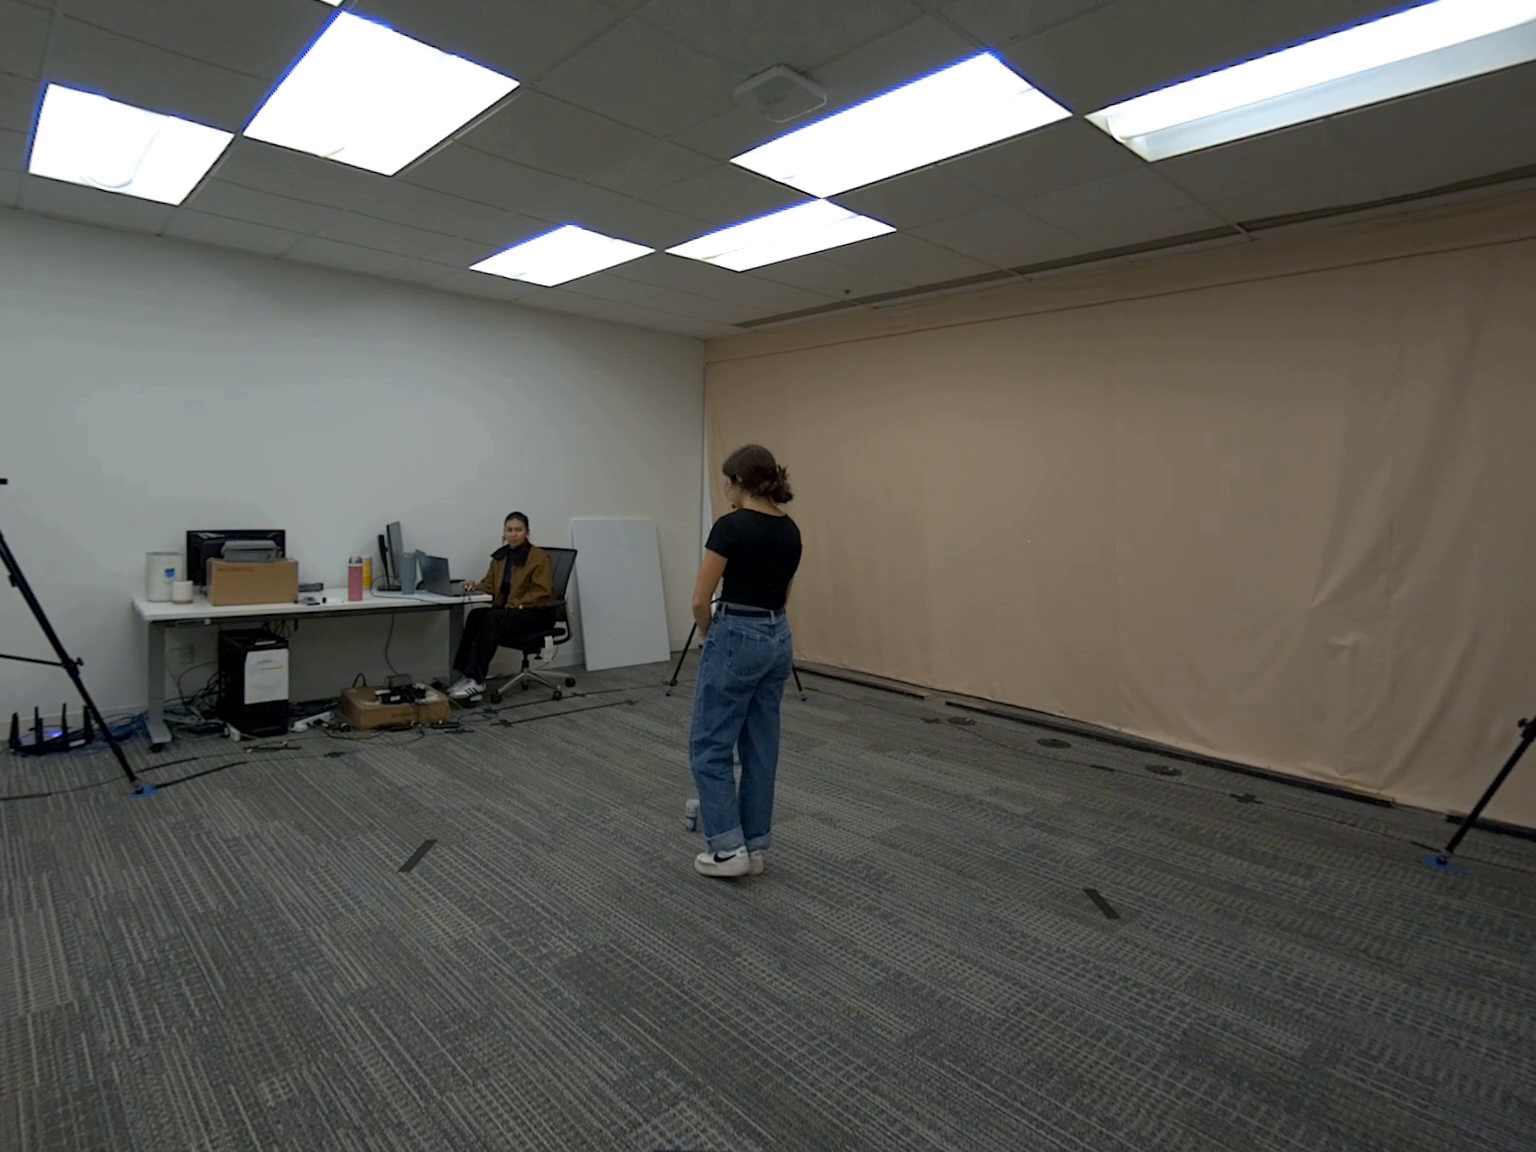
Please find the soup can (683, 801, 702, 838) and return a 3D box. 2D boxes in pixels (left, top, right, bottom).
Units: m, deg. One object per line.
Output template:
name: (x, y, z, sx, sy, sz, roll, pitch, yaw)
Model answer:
soup can: (-0.314, 1.013, 3.525, 0.067, 0.121, 0.067, 4, 1, -1)
